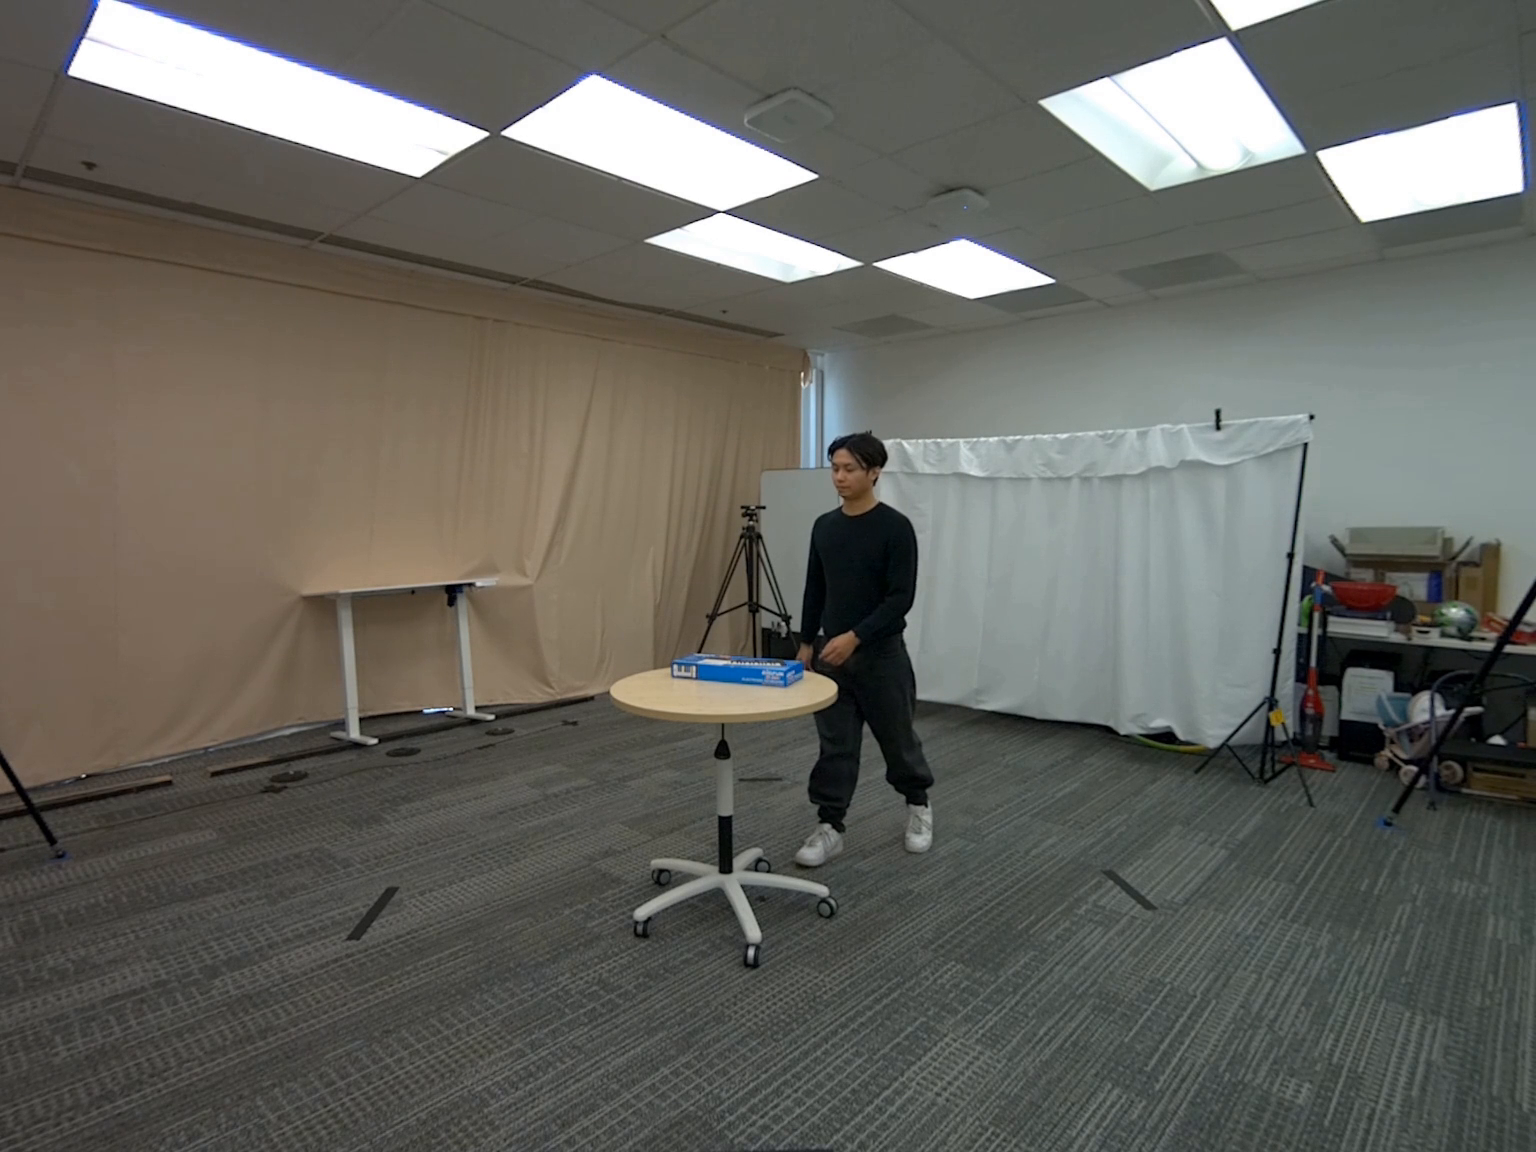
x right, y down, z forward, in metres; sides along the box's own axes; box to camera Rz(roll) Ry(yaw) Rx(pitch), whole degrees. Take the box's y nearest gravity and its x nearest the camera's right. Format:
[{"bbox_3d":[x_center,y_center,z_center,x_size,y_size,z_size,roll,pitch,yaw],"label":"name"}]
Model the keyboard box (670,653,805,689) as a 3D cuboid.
[{"bbox_3d":[-0.109,0.329,2.974,0.448,0.059,0.172,2,5,25],"label":"keyboard box"}]
